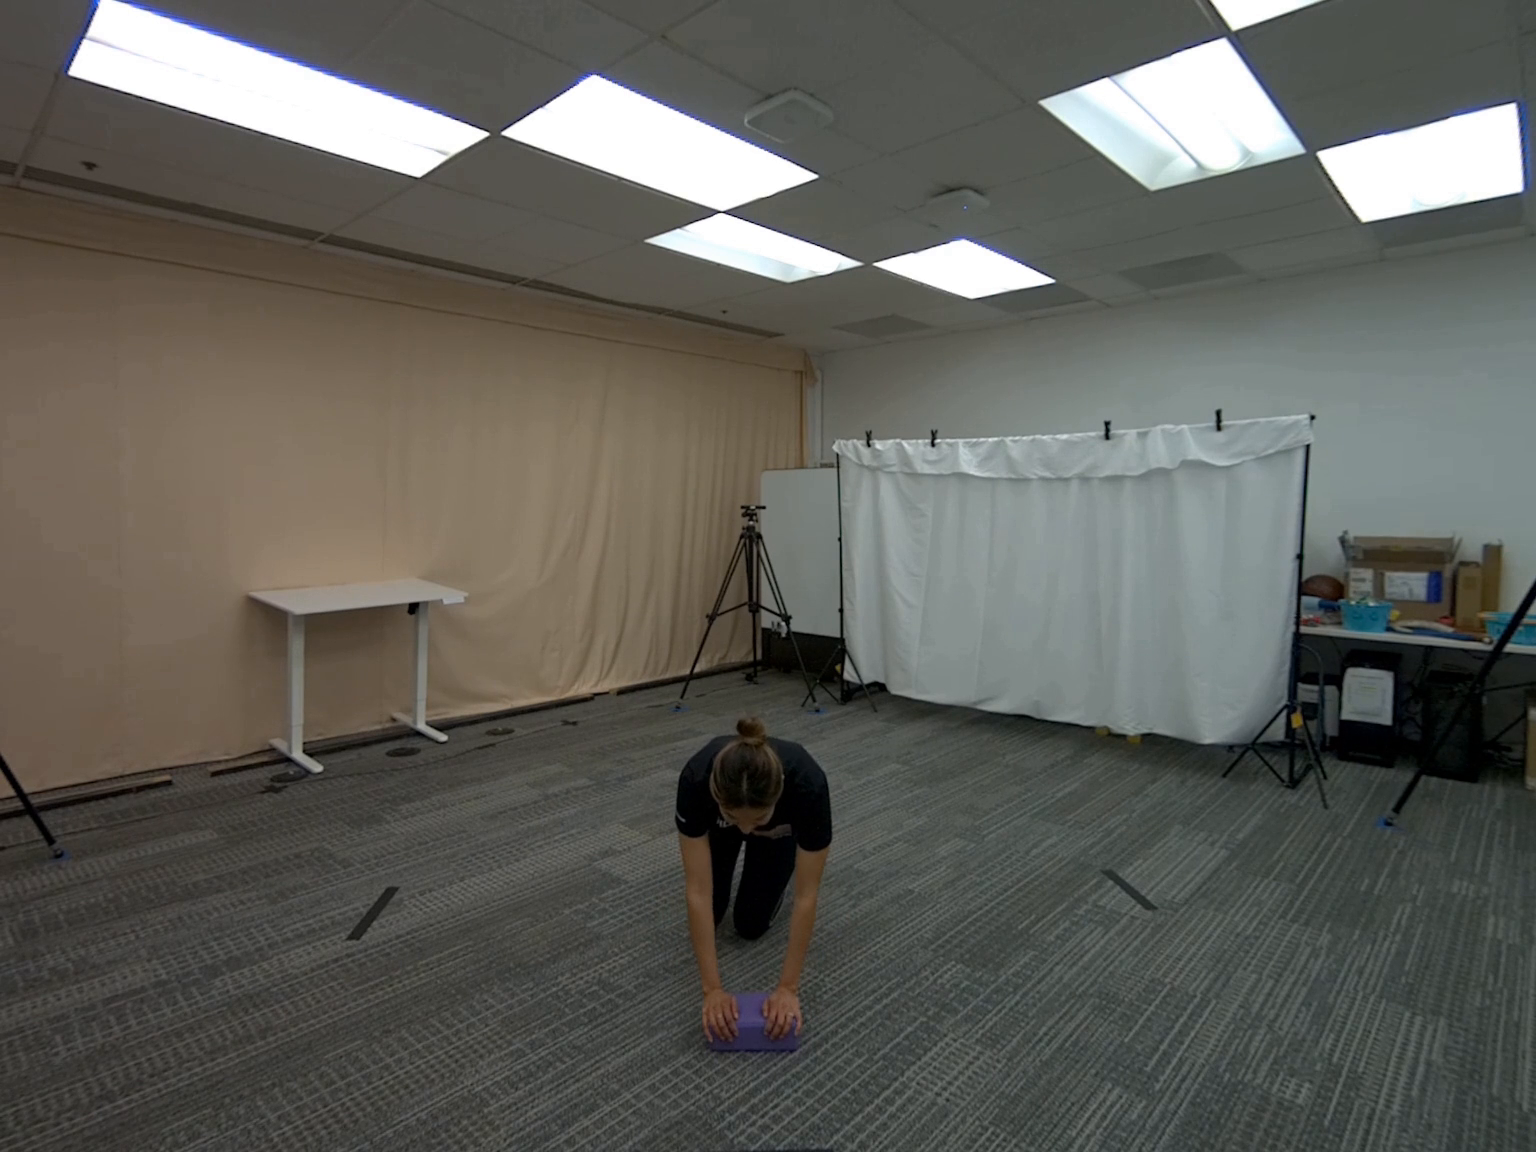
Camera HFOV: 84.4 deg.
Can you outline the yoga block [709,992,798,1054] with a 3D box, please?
[{"bbox_3d":[-0.040,1.165,2.216,0.229,0.076,0.150,-1,9,-1],"label":"yoga block"}]
